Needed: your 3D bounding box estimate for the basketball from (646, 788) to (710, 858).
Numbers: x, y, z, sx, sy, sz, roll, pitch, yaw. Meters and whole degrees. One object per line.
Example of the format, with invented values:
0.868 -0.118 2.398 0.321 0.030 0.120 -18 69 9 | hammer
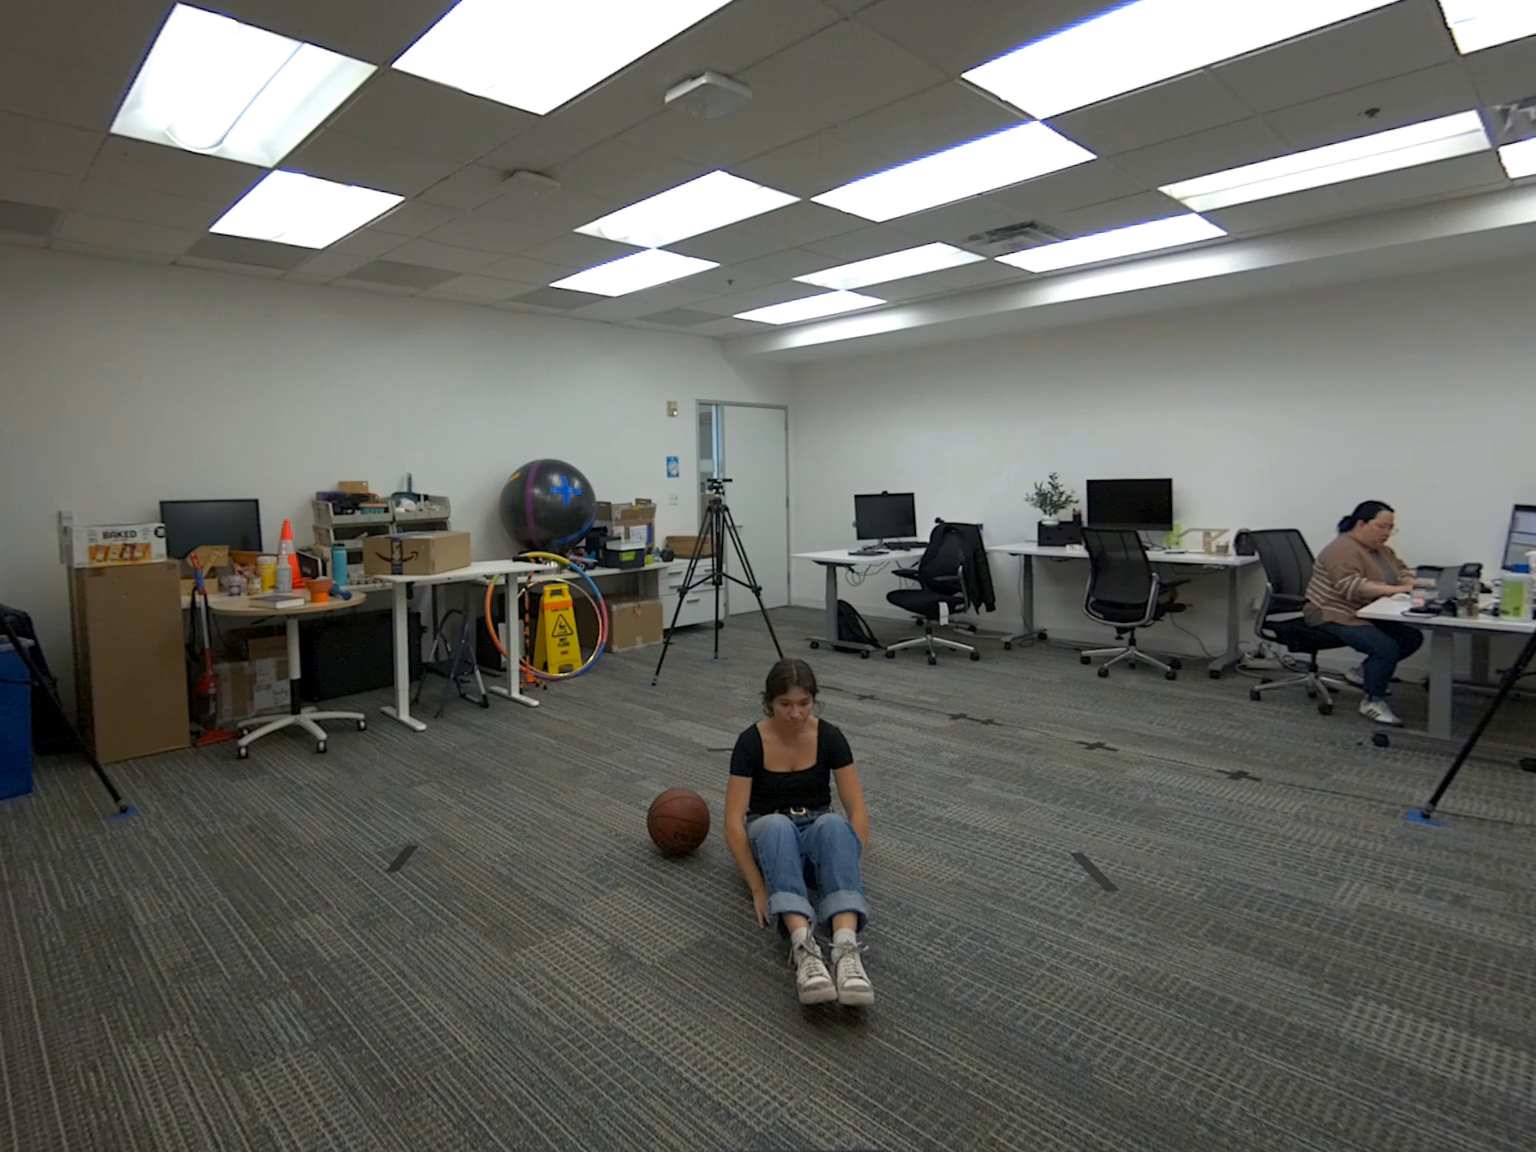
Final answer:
-0.332 0.914 3.202 0.236 0.235 0.237 -1 5 -2 | basketball
